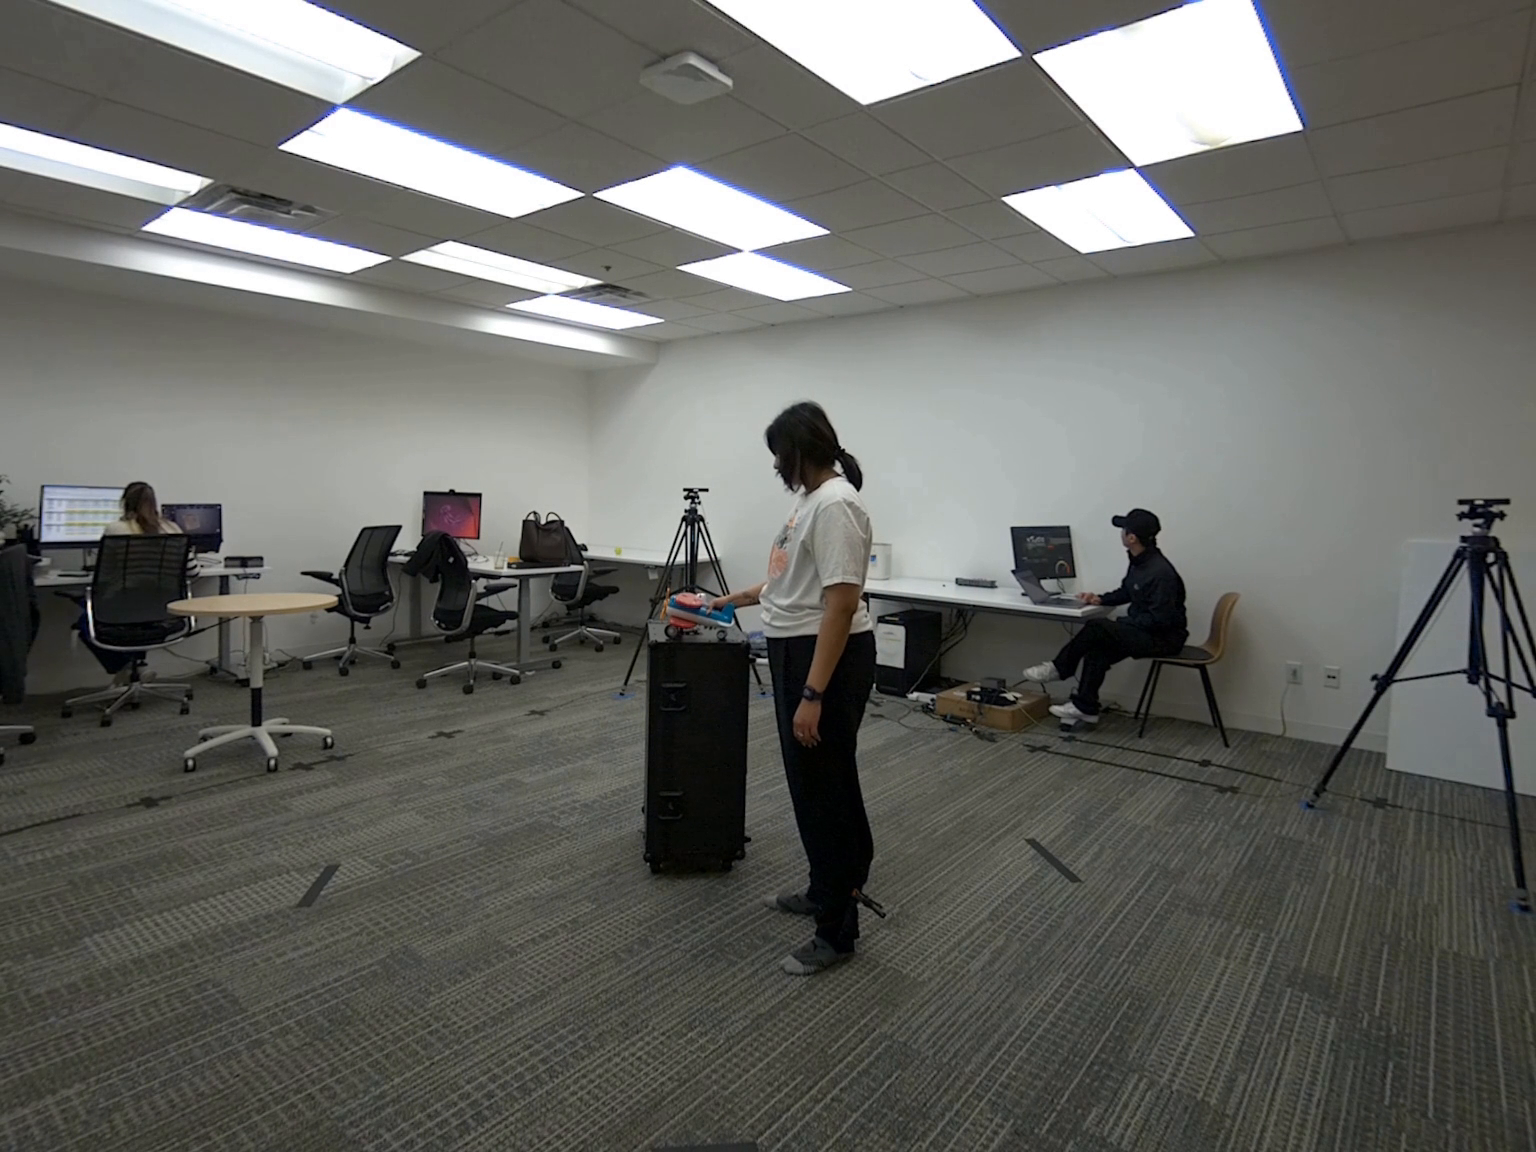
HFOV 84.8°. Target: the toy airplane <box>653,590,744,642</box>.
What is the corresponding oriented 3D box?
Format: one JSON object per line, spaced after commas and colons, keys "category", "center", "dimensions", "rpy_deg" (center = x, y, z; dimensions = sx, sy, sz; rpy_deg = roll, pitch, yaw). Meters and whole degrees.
{"category": "toy airplane", "center": [-0.261, 0.143, 3.089], "dimensions": [0.254, 0.156, 0.256], "rpy_deg": [2, 2, -21]}
